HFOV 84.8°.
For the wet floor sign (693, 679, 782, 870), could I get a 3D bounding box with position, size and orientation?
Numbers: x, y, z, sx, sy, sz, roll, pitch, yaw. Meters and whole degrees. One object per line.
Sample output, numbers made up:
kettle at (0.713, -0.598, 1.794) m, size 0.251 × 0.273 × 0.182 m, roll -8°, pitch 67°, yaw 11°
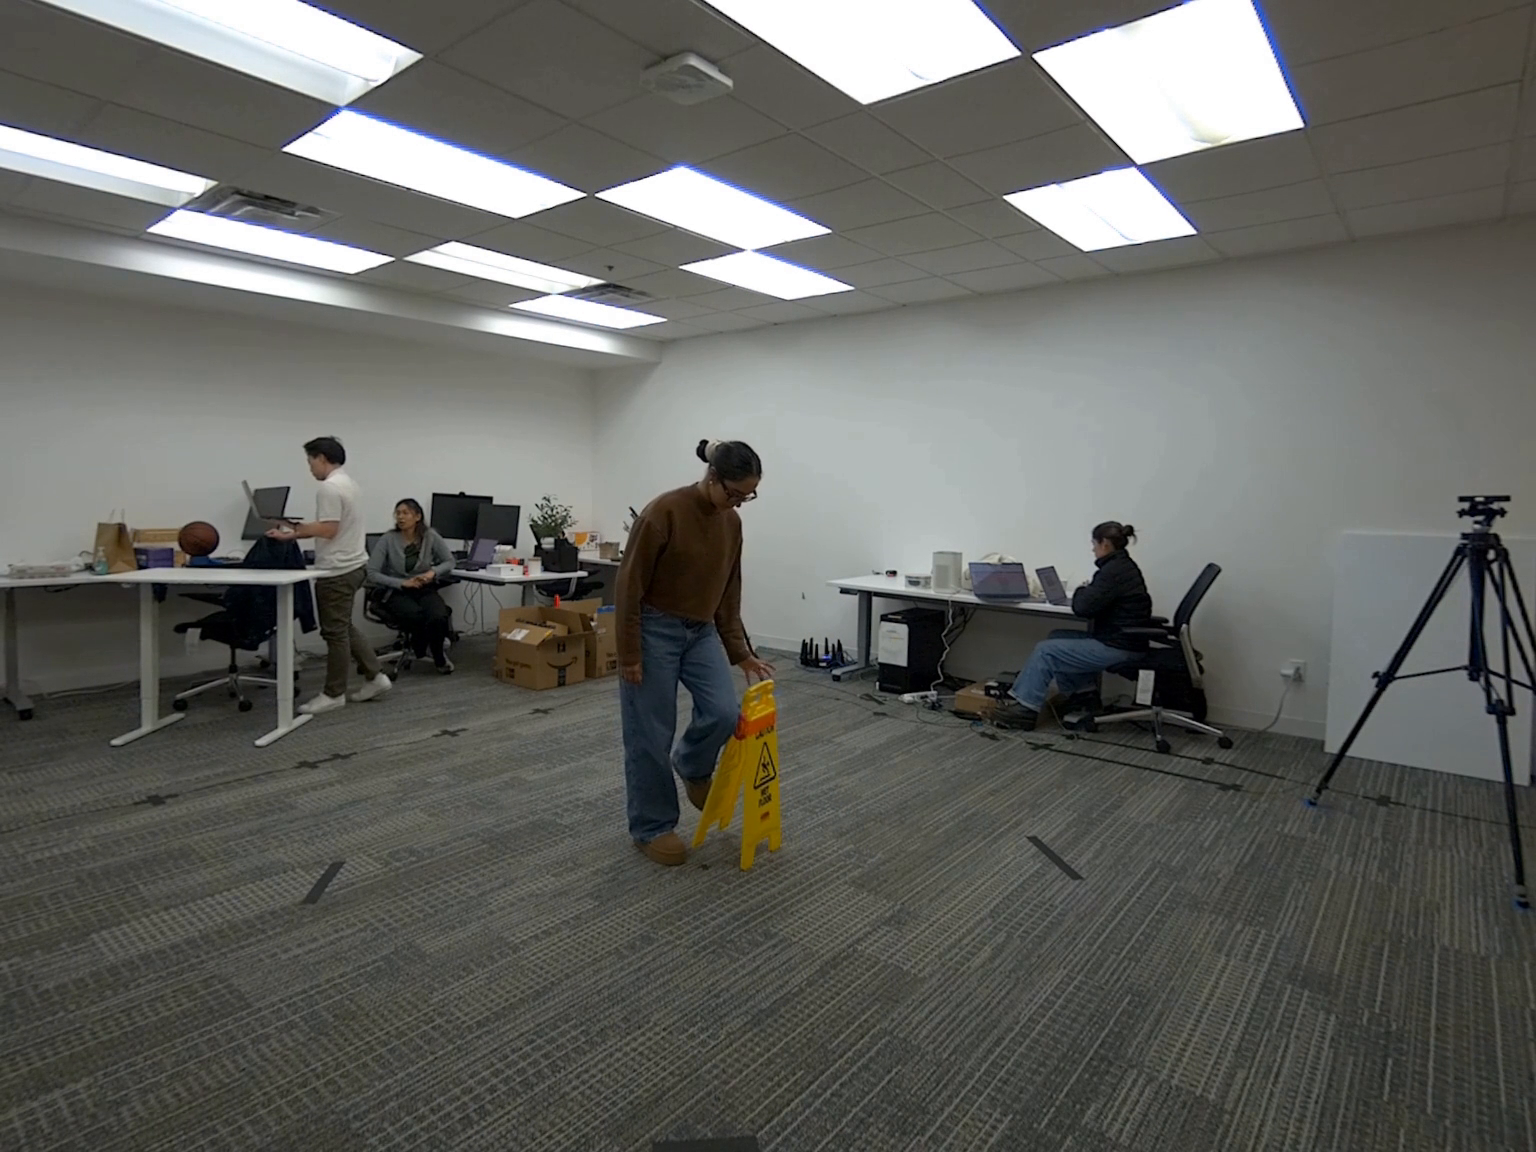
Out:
wet floor sign at (-0.074, 0.723, 3.220) m, size 0.299 × 0.642 × 0.275 m, roll 14°, pitch 10°, yaw 28°
